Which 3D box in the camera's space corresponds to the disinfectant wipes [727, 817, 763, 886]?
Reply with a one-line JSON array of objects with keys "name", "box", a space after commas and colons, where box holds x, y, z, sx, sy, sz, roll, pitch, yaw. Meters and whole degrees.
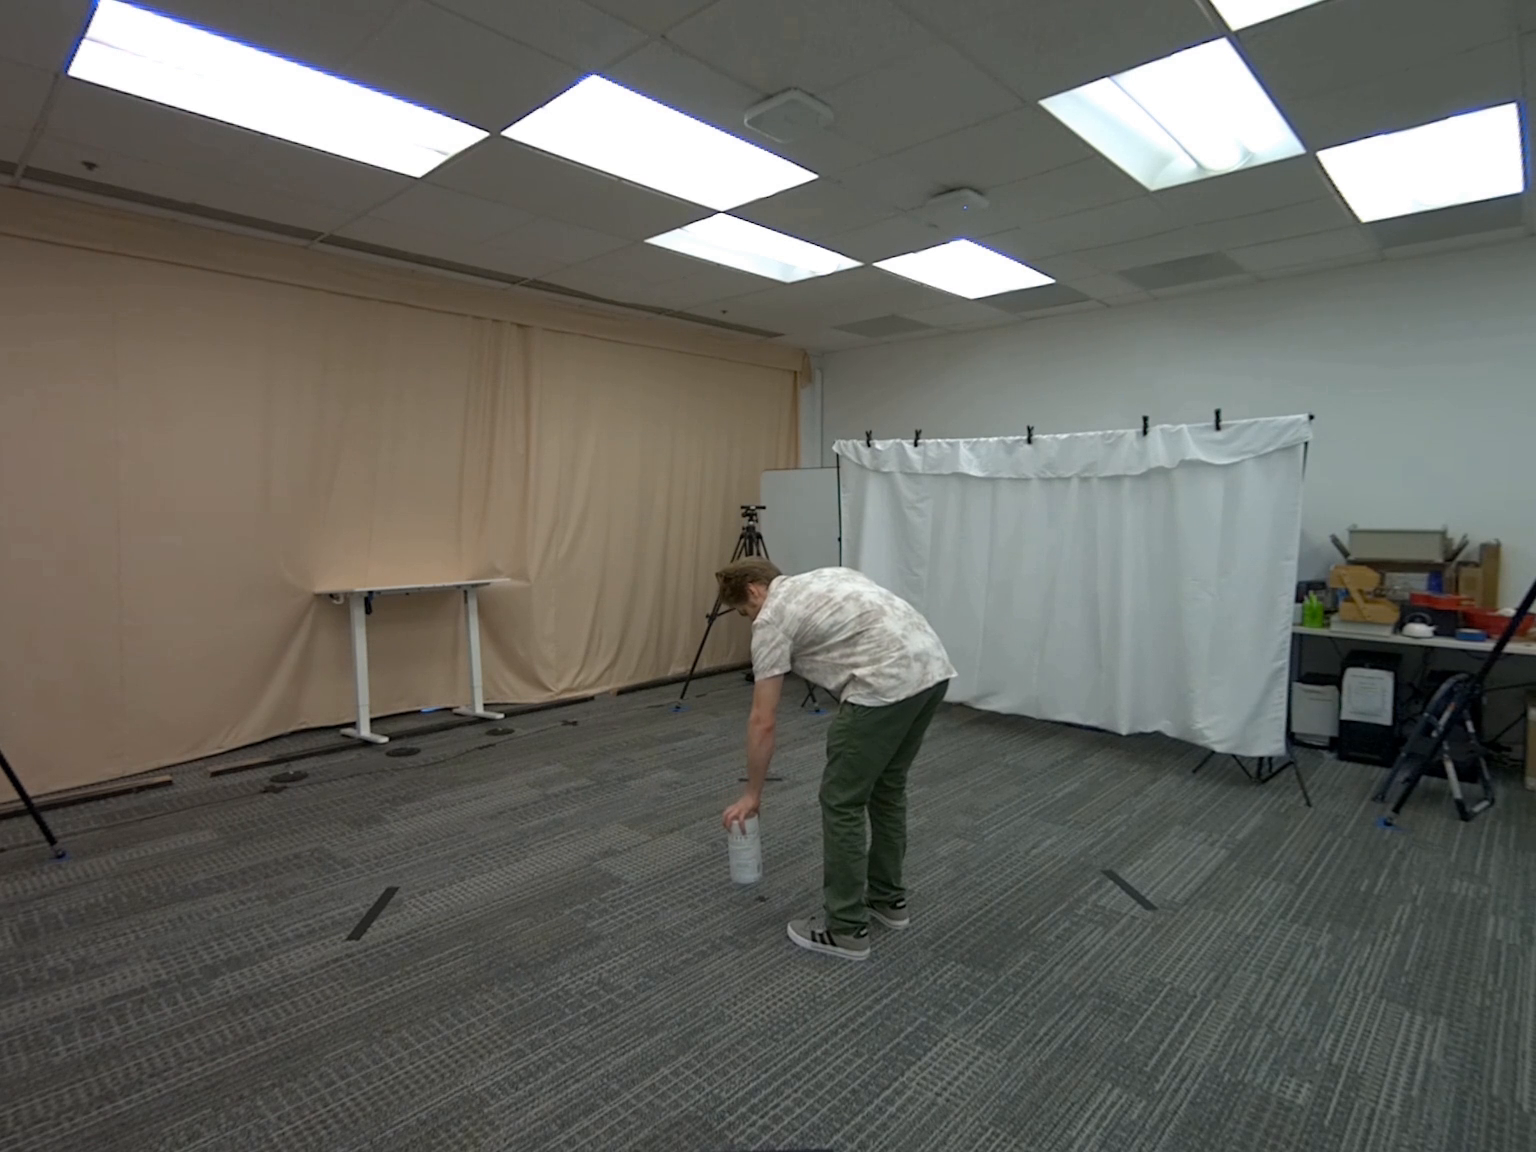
[{"name": "disinfectant wipes", "box": [-0.069, 0.924, 2.848, 0.118, 0.217, 0.118, -5, 4, -1]}]
